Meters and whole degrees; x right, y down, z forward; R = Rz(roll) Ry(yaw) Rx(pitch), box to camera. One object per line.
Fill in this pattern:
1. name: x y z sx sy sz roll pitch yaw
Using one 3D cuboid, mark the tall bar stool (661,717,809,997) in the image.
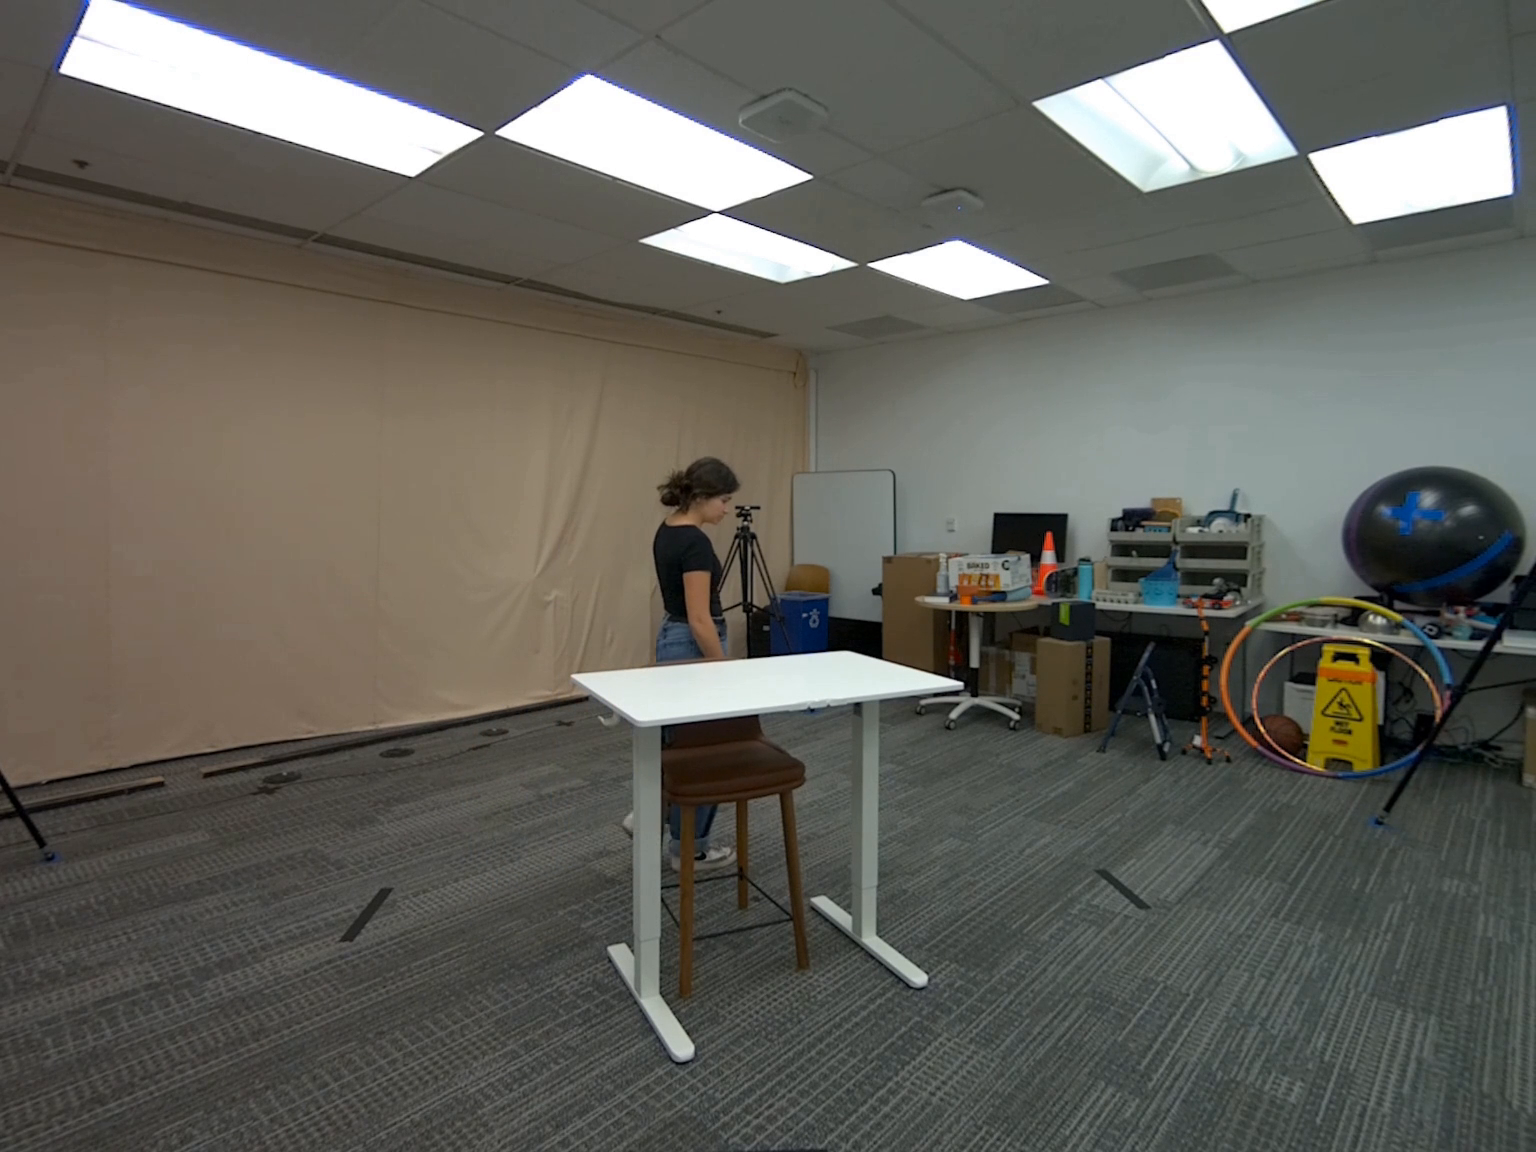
1. tall bar stool: -0.156 0.740 2.648 0.446 0.889 0.478 -2 1 -24
